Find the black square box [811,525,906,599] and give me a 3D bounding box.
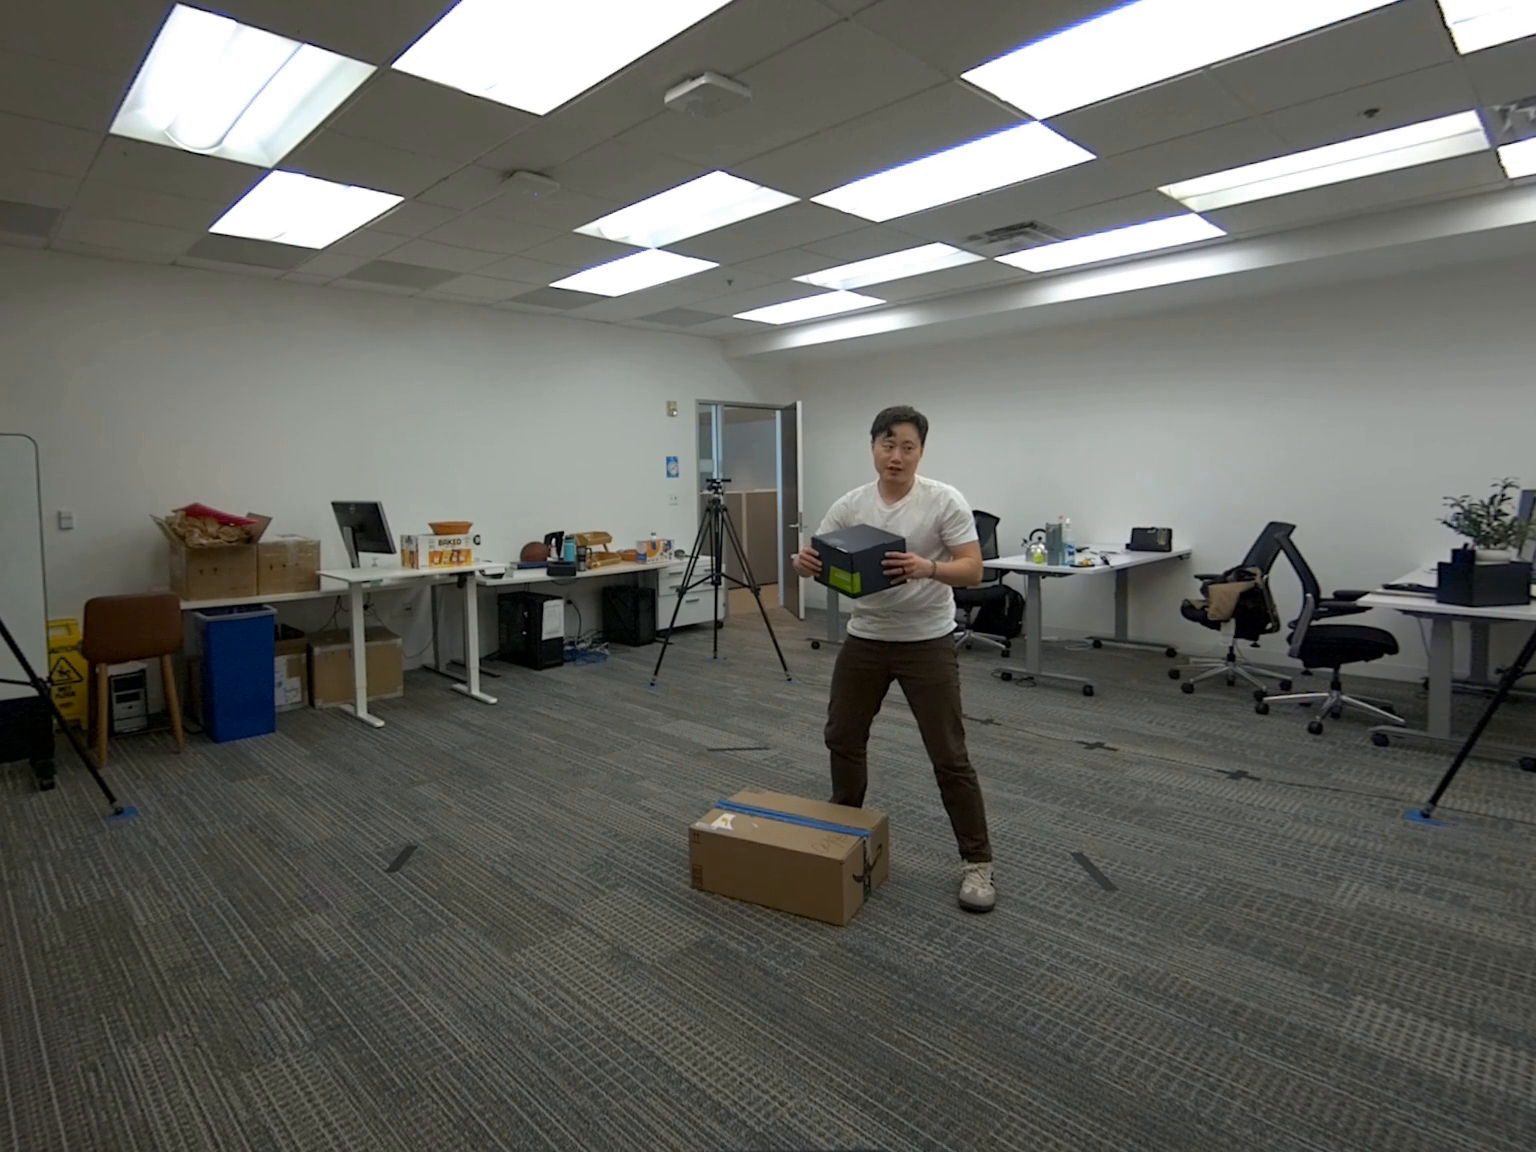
[{"bbox_3d":[0.288,-0.049,2.781,0.213,0.153,0.236,-15,21,-28],"label":"black square box"}]
